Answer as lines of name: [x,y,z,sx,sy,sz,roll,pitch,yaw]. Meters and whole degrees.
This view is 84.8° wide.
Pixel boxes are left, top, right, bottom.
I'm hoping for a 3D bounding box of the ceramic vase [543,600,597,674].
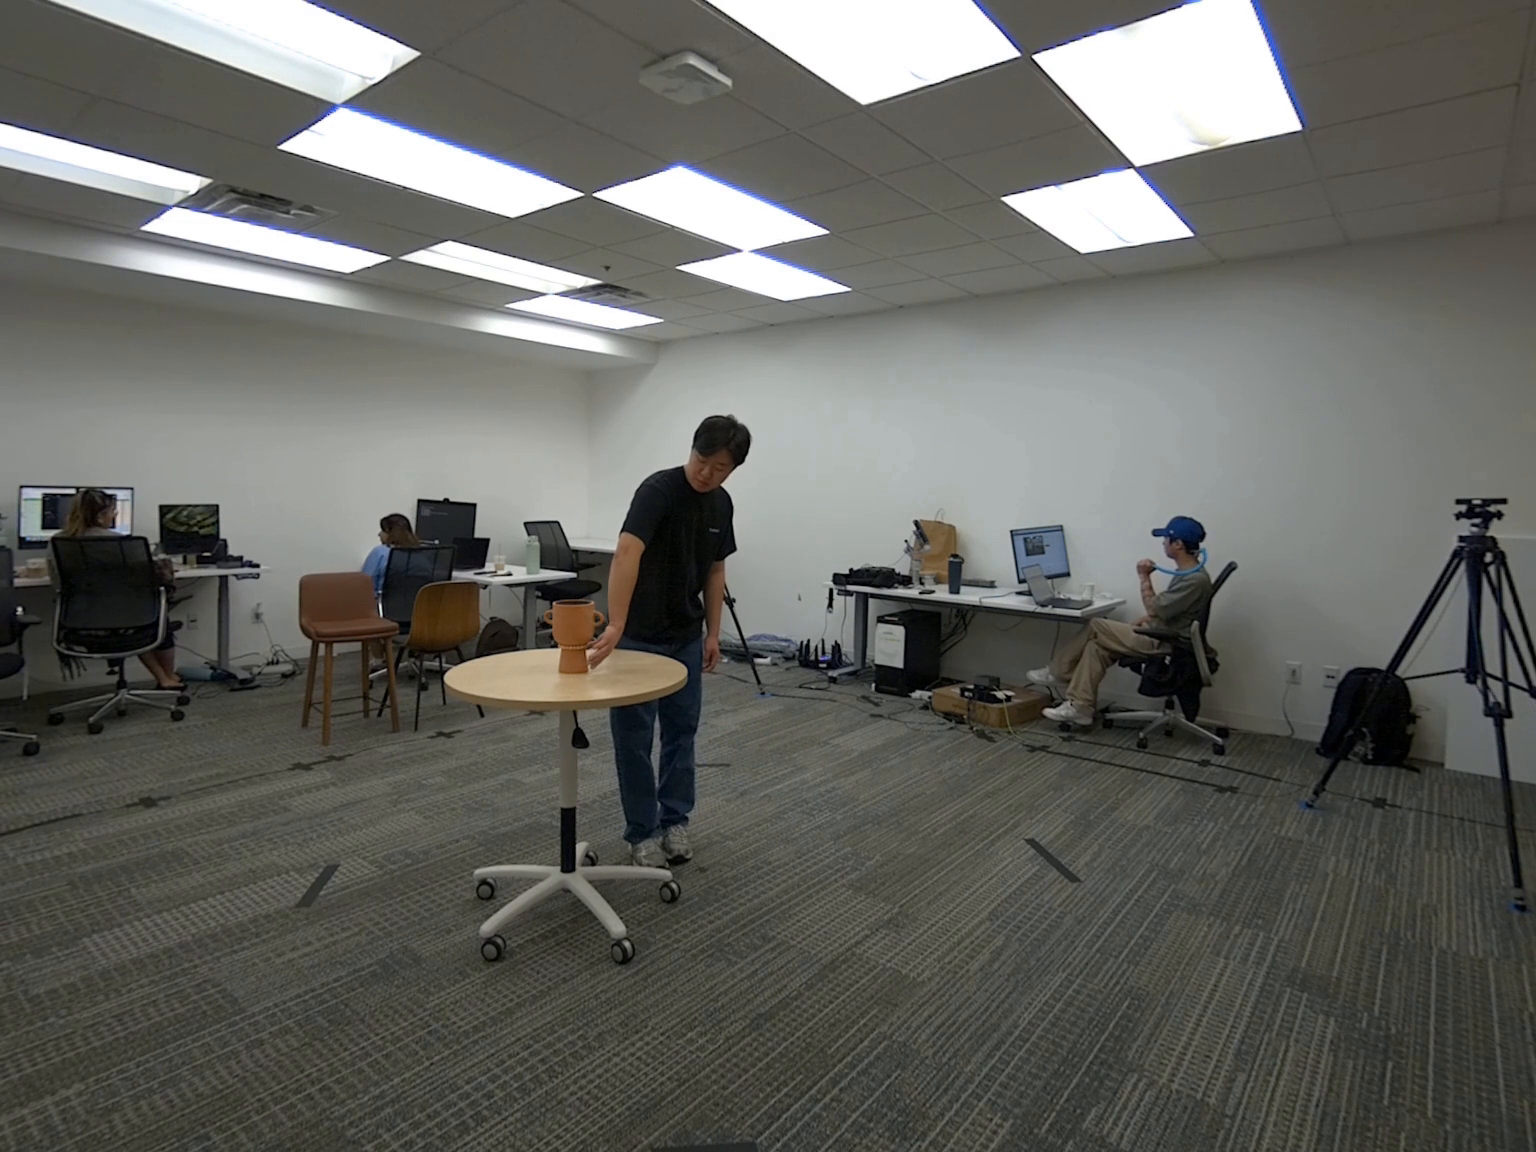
ceramic vase: [-0.636,0.192,2.741,0.130,0.219,0.164,-3,4,-44]
